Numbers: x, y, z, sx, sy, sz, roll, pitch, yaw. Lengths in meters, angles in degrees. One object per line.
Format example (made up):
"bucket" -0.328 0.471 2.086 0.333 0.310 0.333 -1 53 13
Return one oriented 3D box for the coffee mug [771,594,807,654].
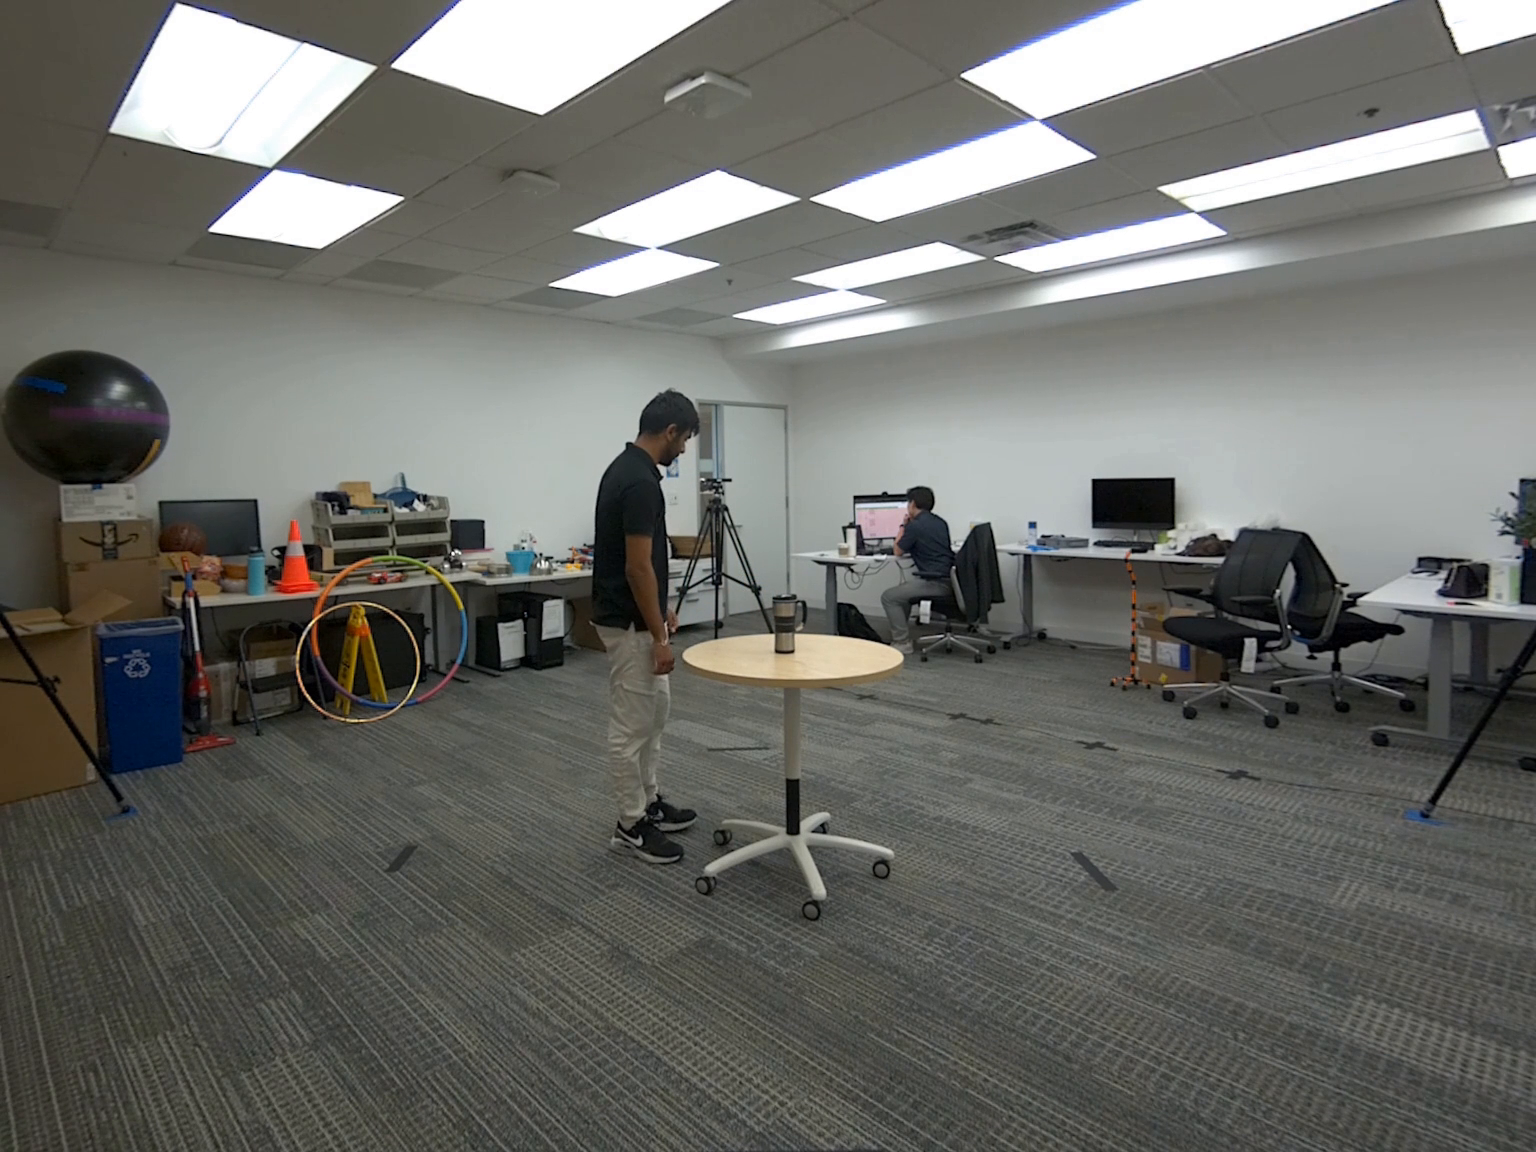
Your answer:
"coffee mug" 0.077 0.169 3.002 0.123 0.203 0.087 -4 1 6
